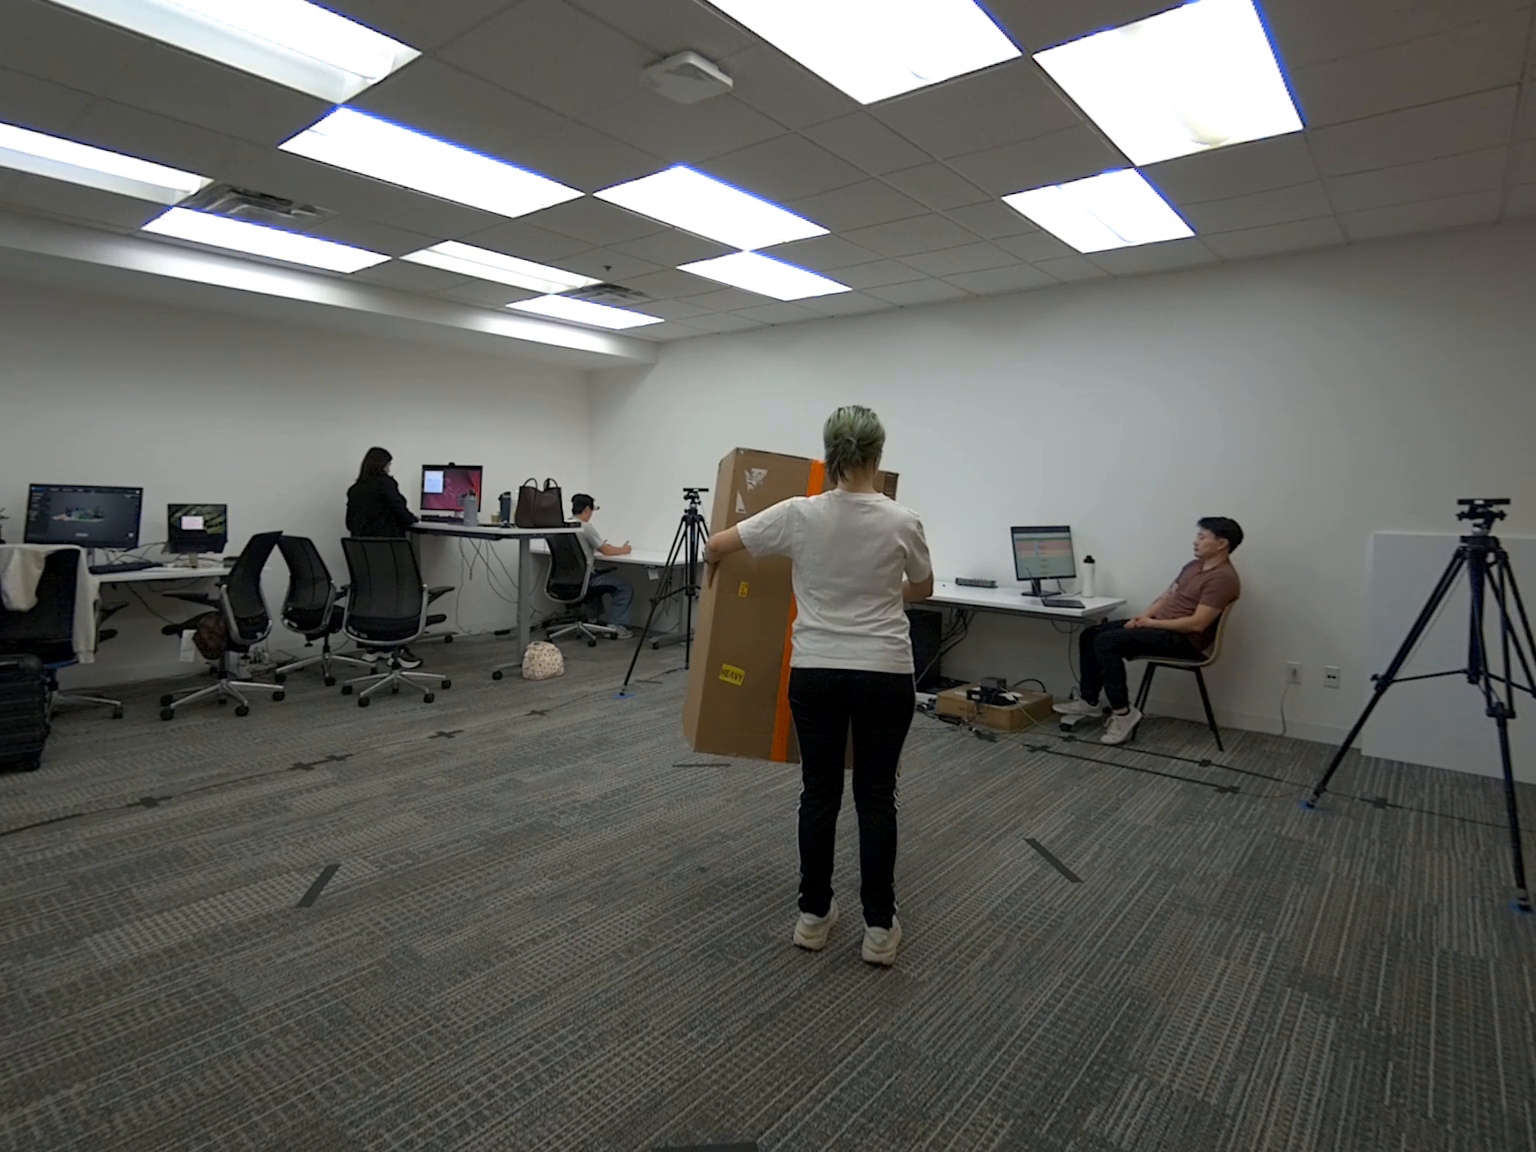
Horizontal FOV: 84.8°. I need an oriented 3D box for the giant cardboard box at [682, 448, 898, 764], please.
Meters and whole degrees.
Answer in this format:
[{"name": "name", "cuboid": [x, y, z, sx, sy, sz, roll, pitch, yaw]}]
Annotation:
[{"name": "giant cardboard box", "cuboid": [0.065, 0.107, 3.068, 0.573, 1.028, 0.429, 7, -3, -7]}]
